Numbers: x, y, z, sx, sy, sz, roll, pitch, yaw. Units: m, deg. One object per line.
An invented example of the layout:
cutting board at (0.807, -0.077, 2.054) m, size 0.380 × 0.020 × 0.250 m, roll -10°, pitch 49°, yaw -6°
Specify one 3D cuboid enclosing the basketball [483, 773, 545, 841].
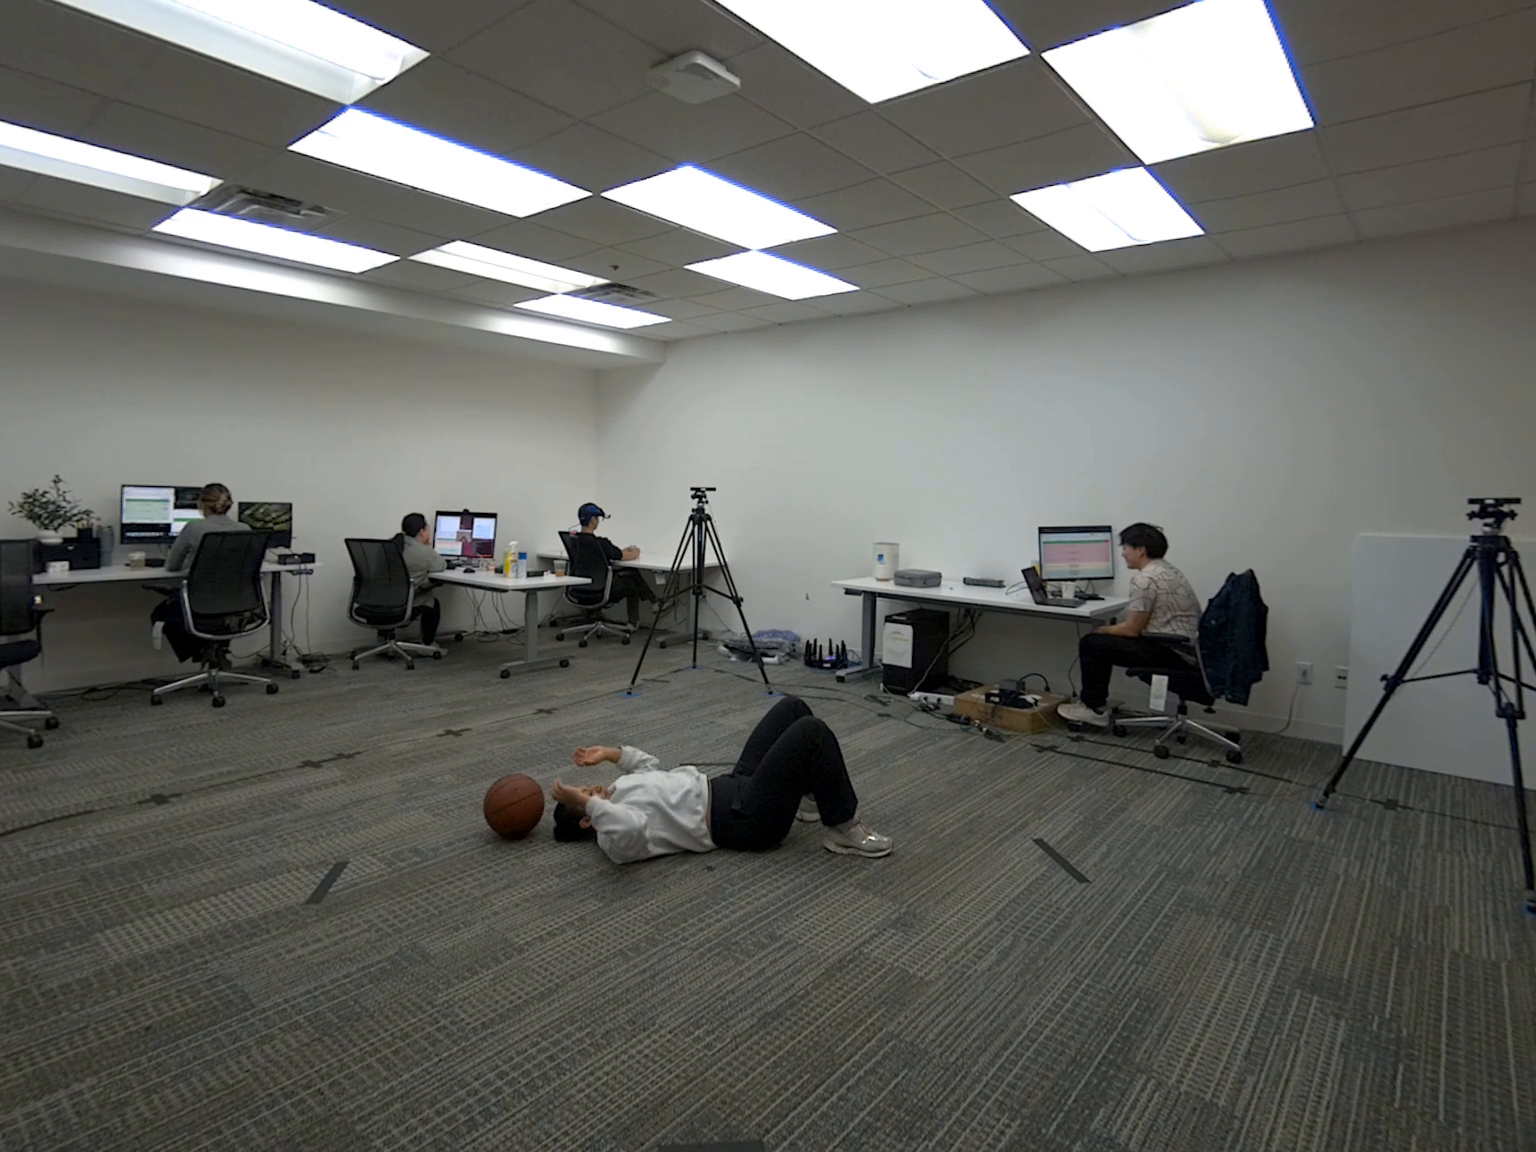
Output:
basketball at (-1.020, 0.909, 3.375) m, size 0.235 × 0.235 × 0.237 m, roll 1°, pitch 4°, yaw -2°
